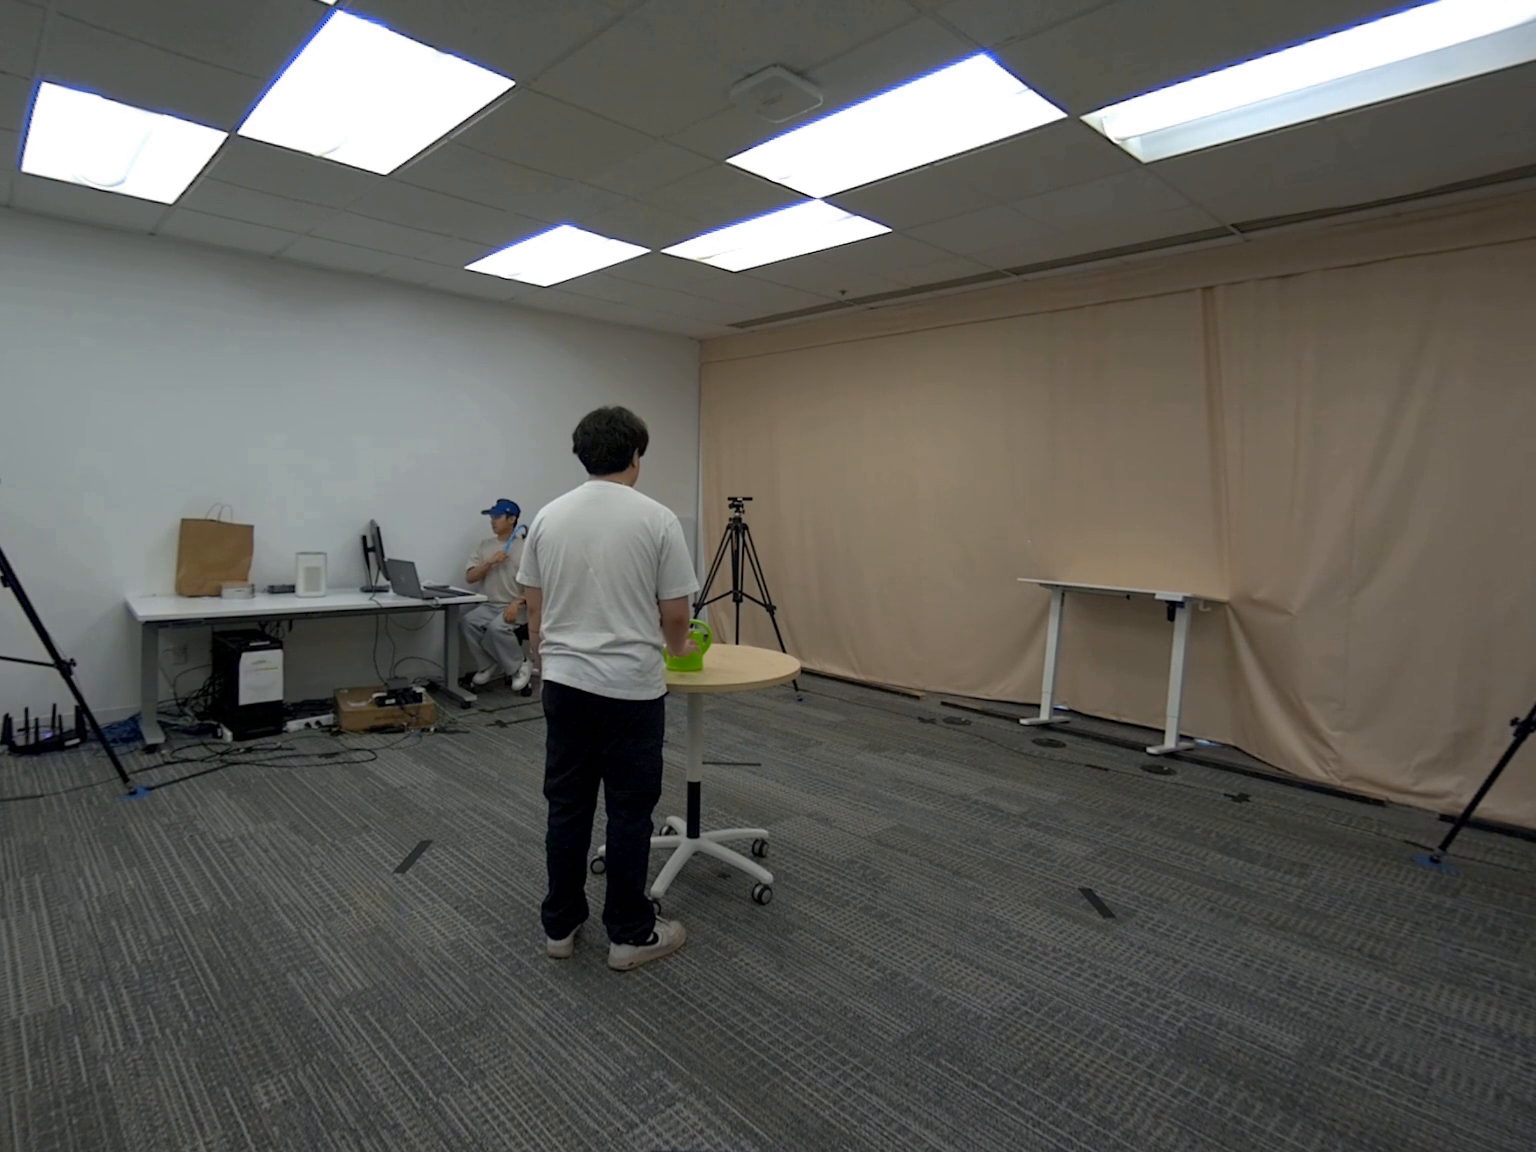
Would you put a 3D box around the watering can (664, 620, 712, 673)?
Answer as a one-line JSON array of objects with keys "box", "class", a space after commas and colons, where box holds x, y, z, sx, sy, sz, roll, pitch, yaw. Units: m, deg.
[{"box": [-0.343, 0.243, 2.943, 0.281, 0.176, 0.097, 1, 4, 10], "class": "watering can"}]
